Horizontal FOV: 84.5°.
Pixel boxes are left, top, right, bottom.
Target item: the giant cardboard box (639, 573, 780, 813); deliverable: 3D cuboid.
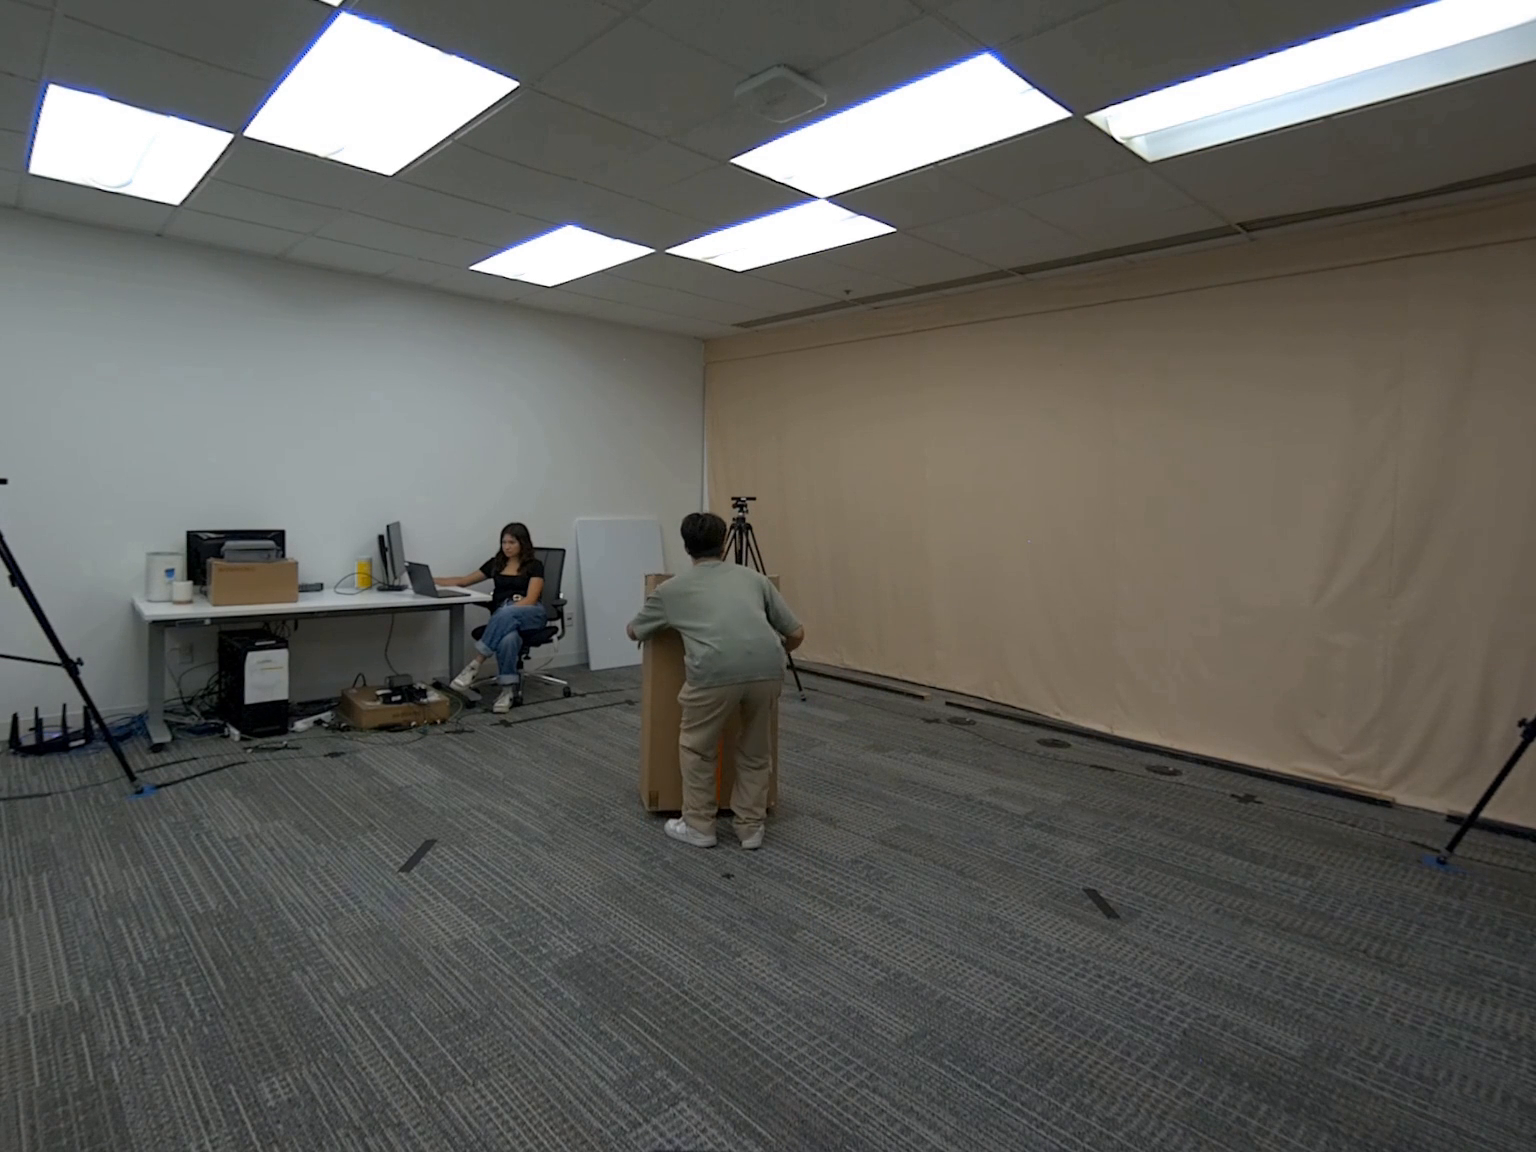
[{"bbox_3d":[-0.288,0.515,3.914,0.571,1.029,0.429,2,-4,-14],"label":"giant cardboard box"}]
